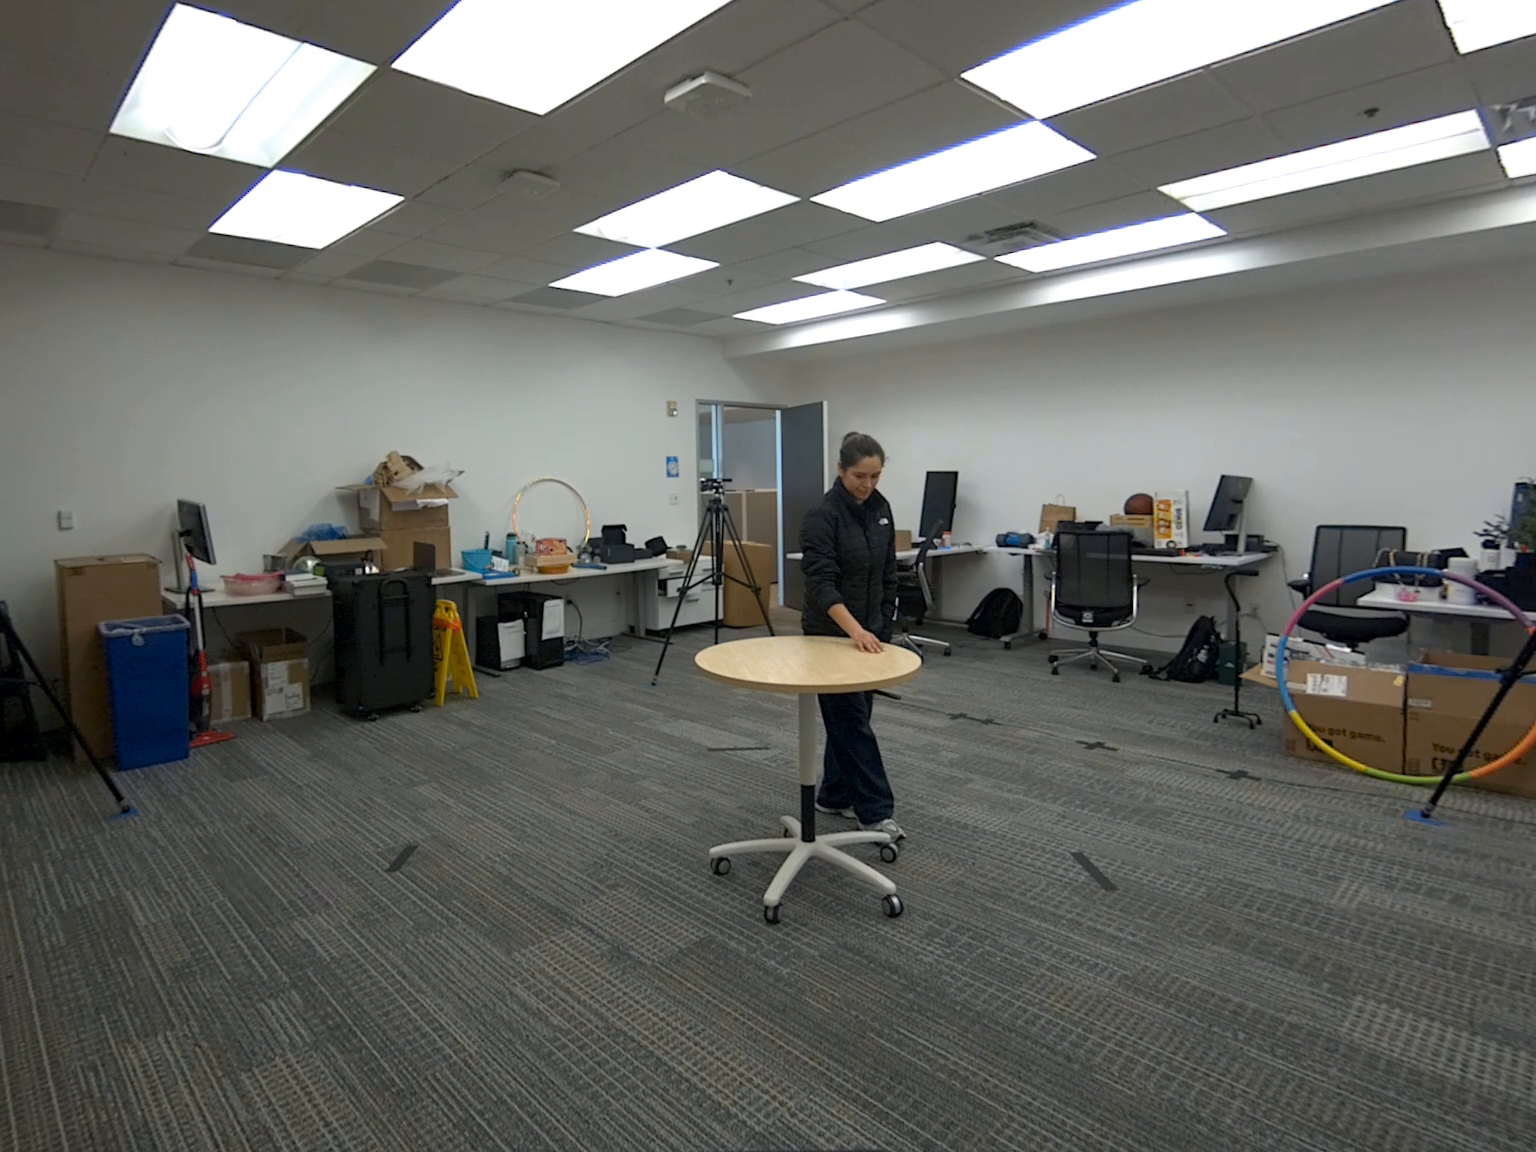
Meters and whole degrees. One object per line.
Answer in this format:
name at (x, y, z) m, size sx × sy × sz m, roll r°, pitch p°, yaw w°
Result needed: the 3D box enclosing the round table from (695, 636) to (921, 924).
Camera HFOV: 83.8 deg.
round table at (0.129, 0.664, 2.952) m, size 0.784 × 0.783 × 0.789 m, roll -1°, pitch 5°, yaw -2°
